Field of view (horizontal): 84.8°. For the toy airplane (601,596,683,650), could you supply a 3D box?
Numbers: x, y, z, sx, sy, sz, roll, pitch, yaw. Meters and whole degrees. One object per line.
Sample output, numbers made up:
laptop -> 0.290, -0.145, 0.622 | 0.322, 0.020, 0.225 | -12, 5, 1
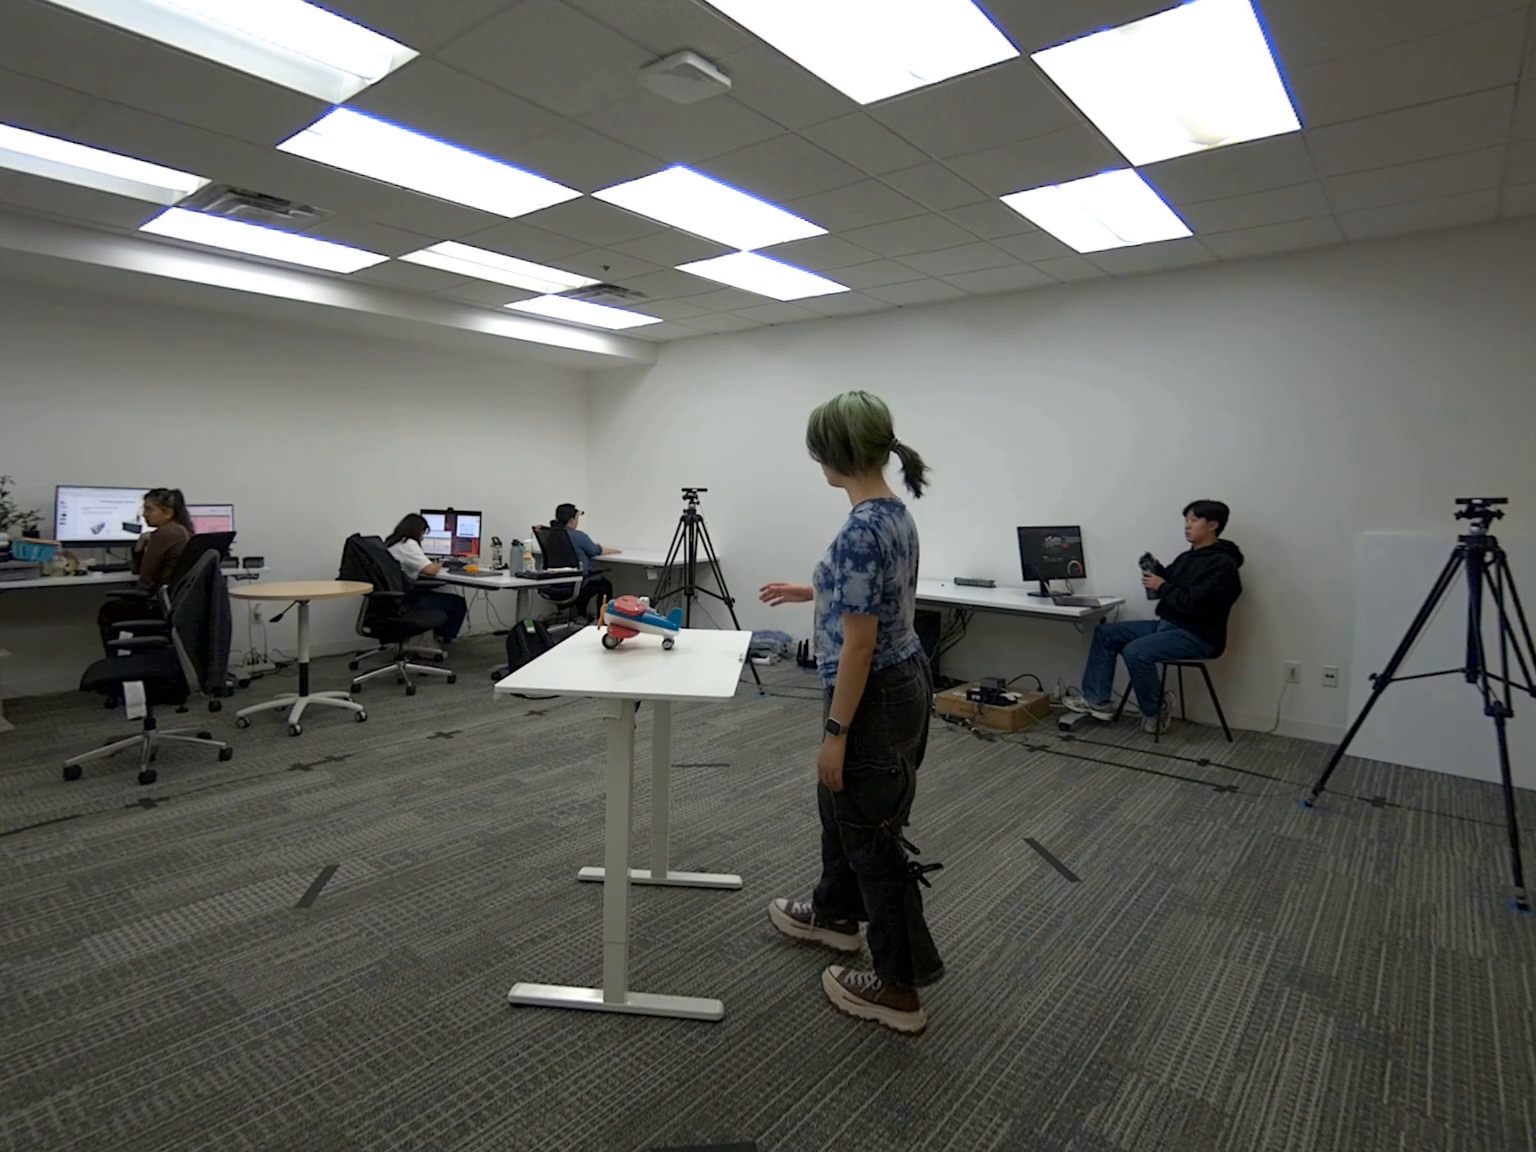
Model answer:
toy airplane -> -0.416, 0.147, 2.715 | 0.253, 0.156, 0.258 | -2, 5, -26
